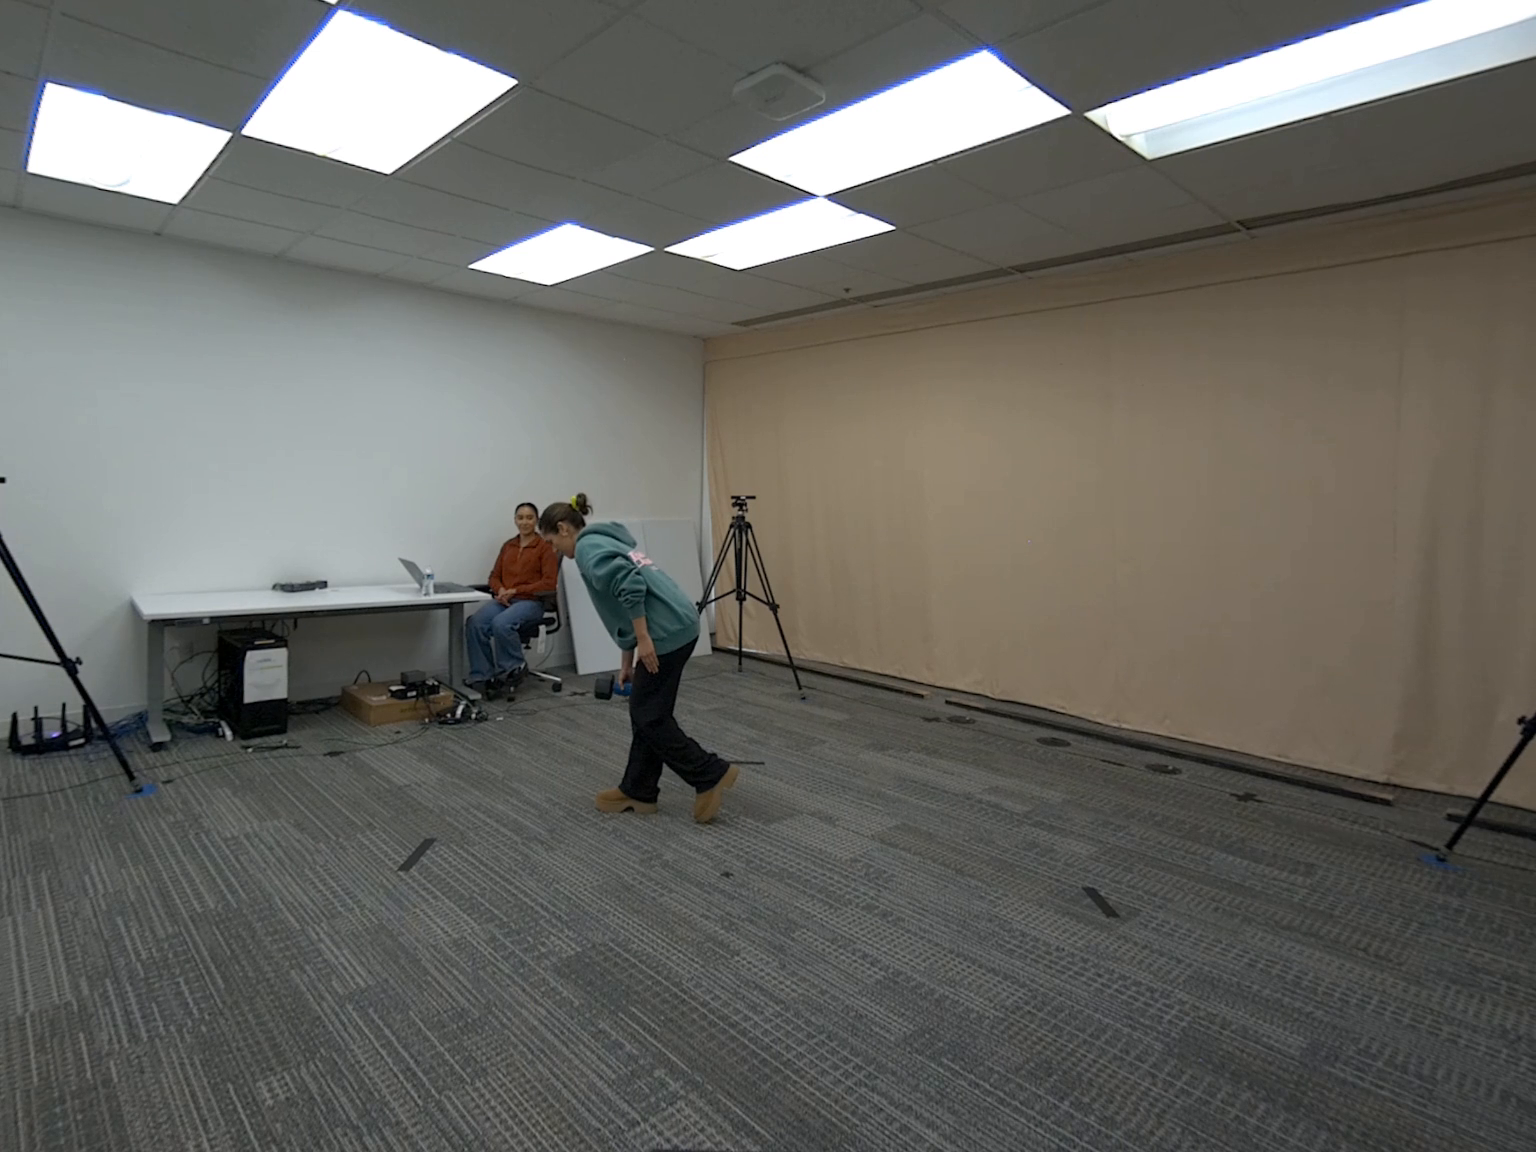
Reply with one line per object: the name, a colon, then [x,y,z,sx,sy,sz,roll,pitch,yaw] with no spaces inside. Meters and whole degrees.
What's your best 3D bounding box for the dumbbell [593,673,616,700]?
dumbbell: [-0.664,0.530,3.889,0.293,0.124,0.108,7,-12,-1]
